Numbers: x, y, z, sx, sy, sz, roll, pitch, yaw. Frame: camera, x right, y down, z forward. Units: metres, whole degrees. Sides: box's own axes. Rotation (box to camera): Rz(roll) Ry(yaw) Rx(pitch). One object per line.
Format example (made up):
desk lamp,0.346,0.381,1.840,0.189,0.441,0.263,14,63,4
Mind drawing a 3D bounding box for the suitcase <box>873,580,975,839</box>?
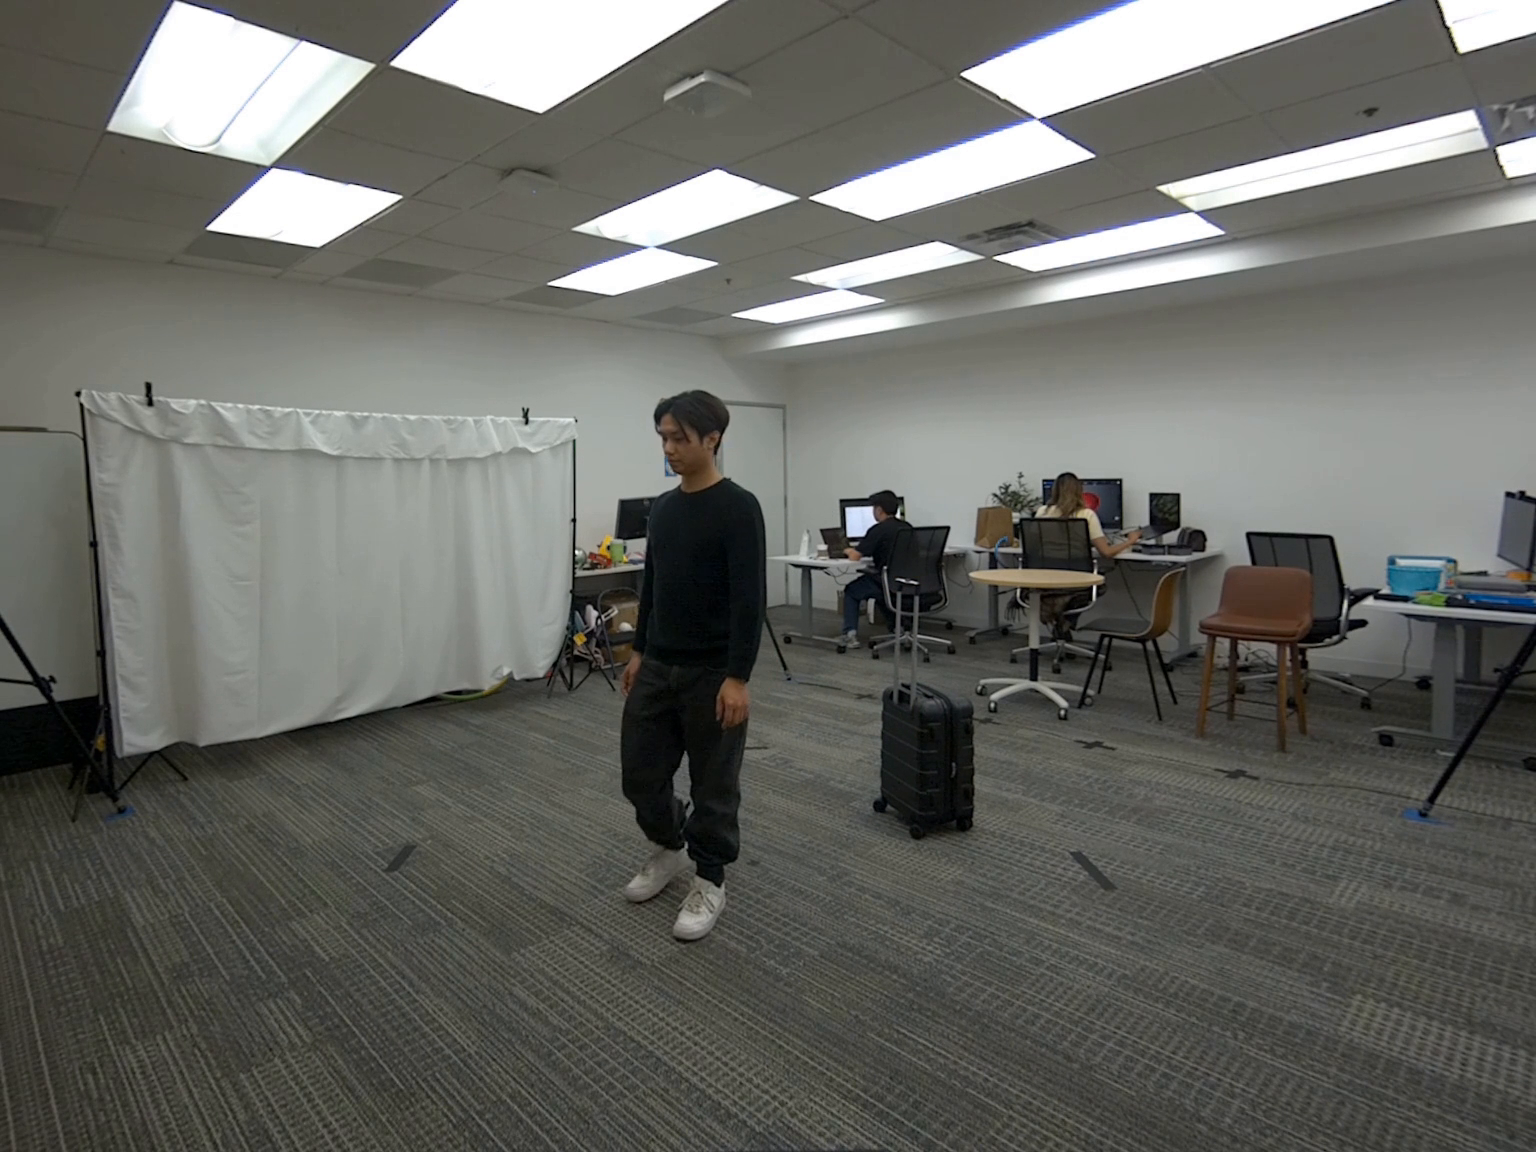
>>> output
suitcase,0.641,0.517,3.433,0.253,0.975,0.391,1,4,-17
